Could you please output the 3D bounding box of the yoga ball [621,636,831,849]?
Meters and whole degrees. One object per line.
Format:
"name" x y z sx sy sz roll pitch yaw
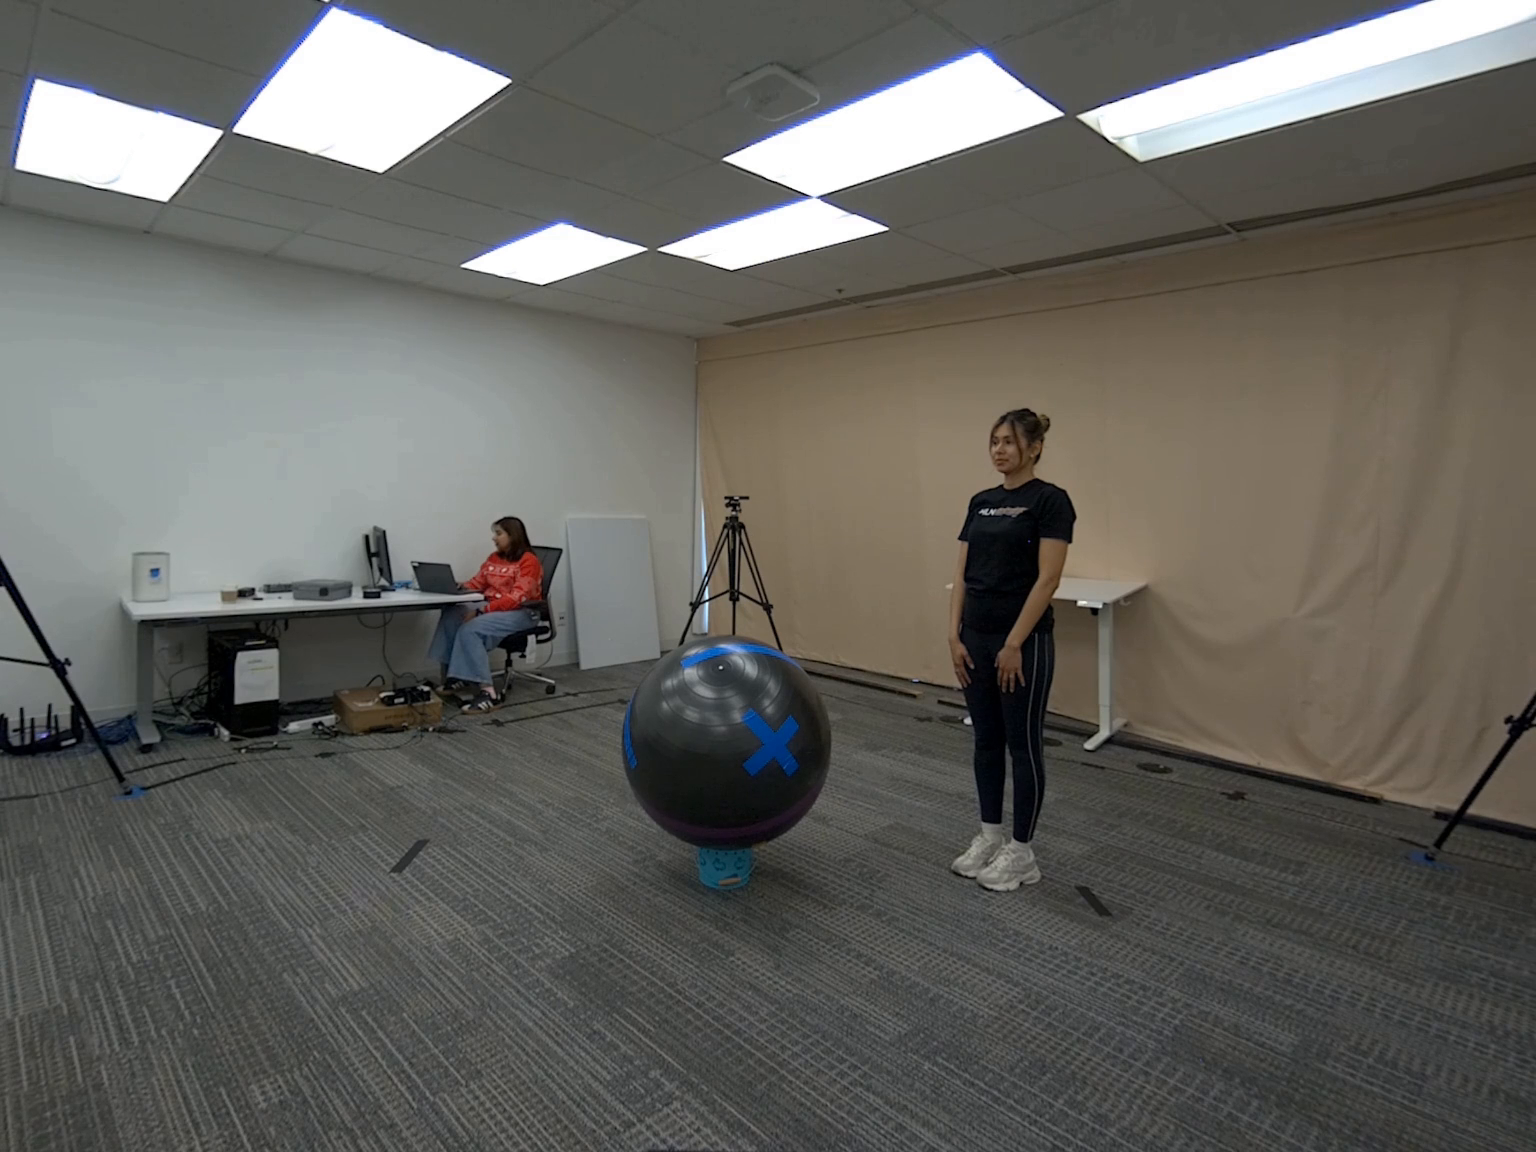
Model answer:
"yoga ball" -0.158 0.598 3.049 0.757 0.756 0.761 1 4 -1
